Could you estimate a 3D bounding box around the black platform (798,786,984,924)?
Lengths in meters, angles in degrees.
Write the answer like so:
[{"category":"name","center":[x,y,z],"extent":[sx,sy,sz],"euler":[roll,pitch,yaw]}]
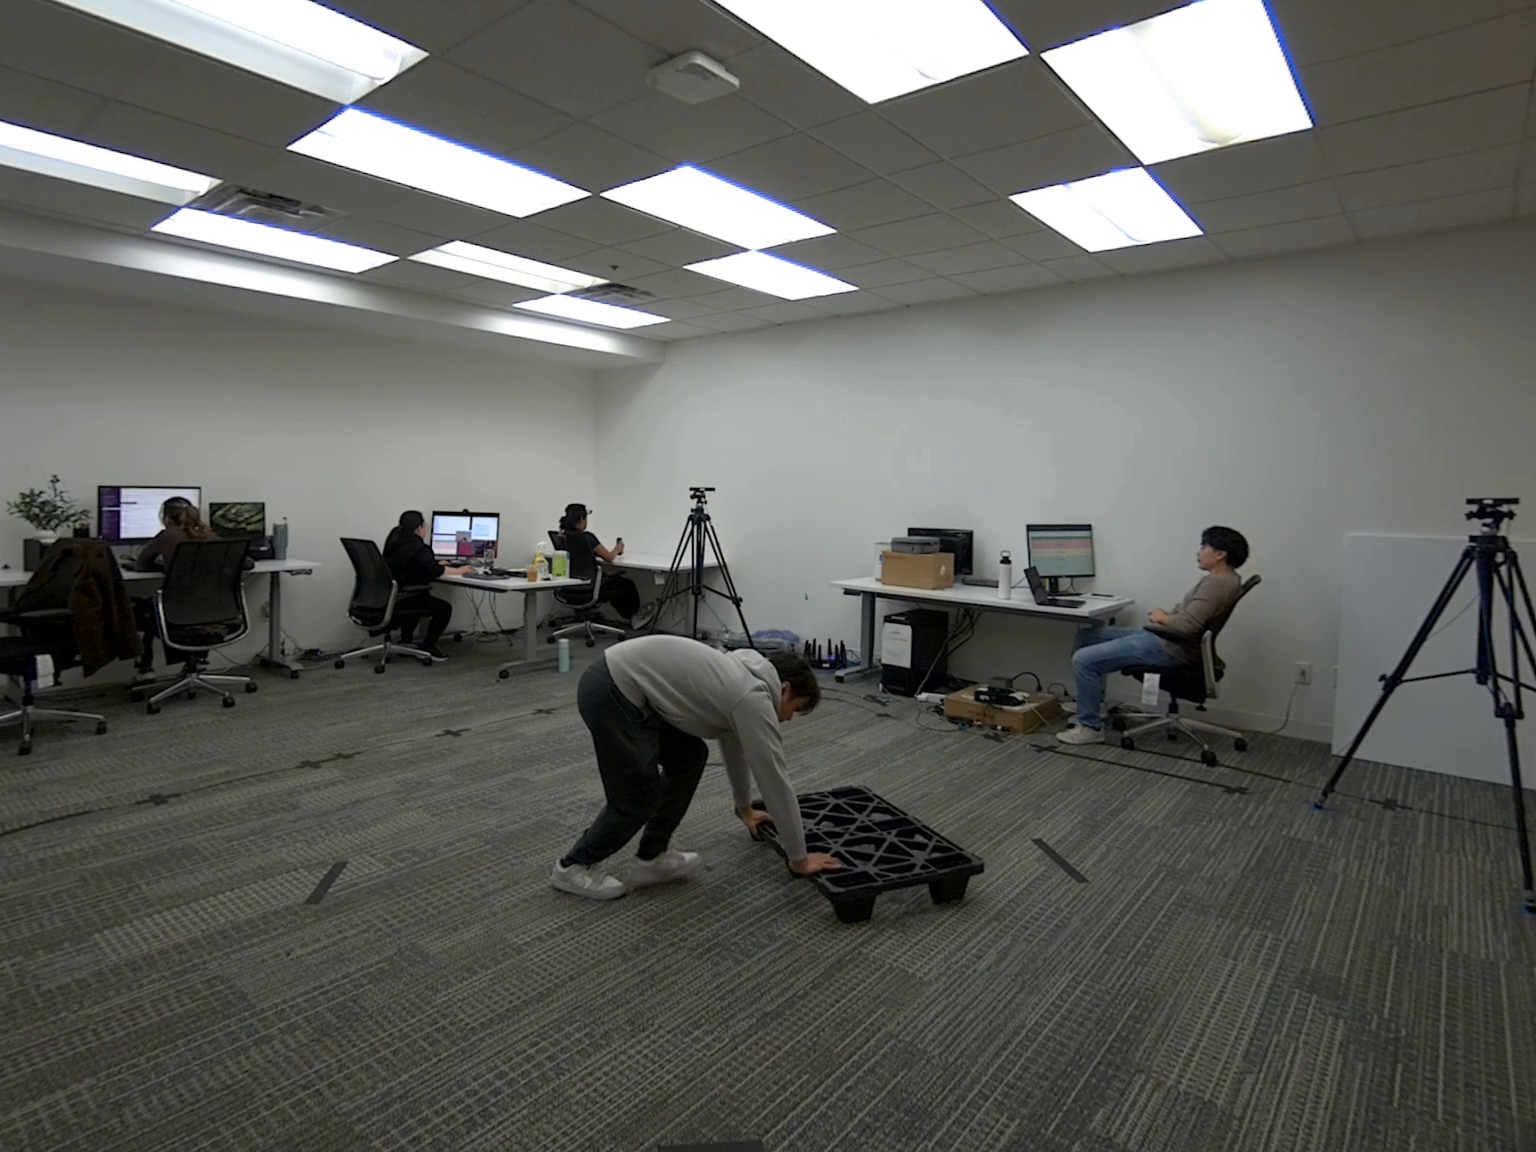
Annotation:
[{"category":"black platform","center":[0.296,1.003,3.154],"extent":[0.592,0.143,0.827],"euler":[-1,7,-23]}]
